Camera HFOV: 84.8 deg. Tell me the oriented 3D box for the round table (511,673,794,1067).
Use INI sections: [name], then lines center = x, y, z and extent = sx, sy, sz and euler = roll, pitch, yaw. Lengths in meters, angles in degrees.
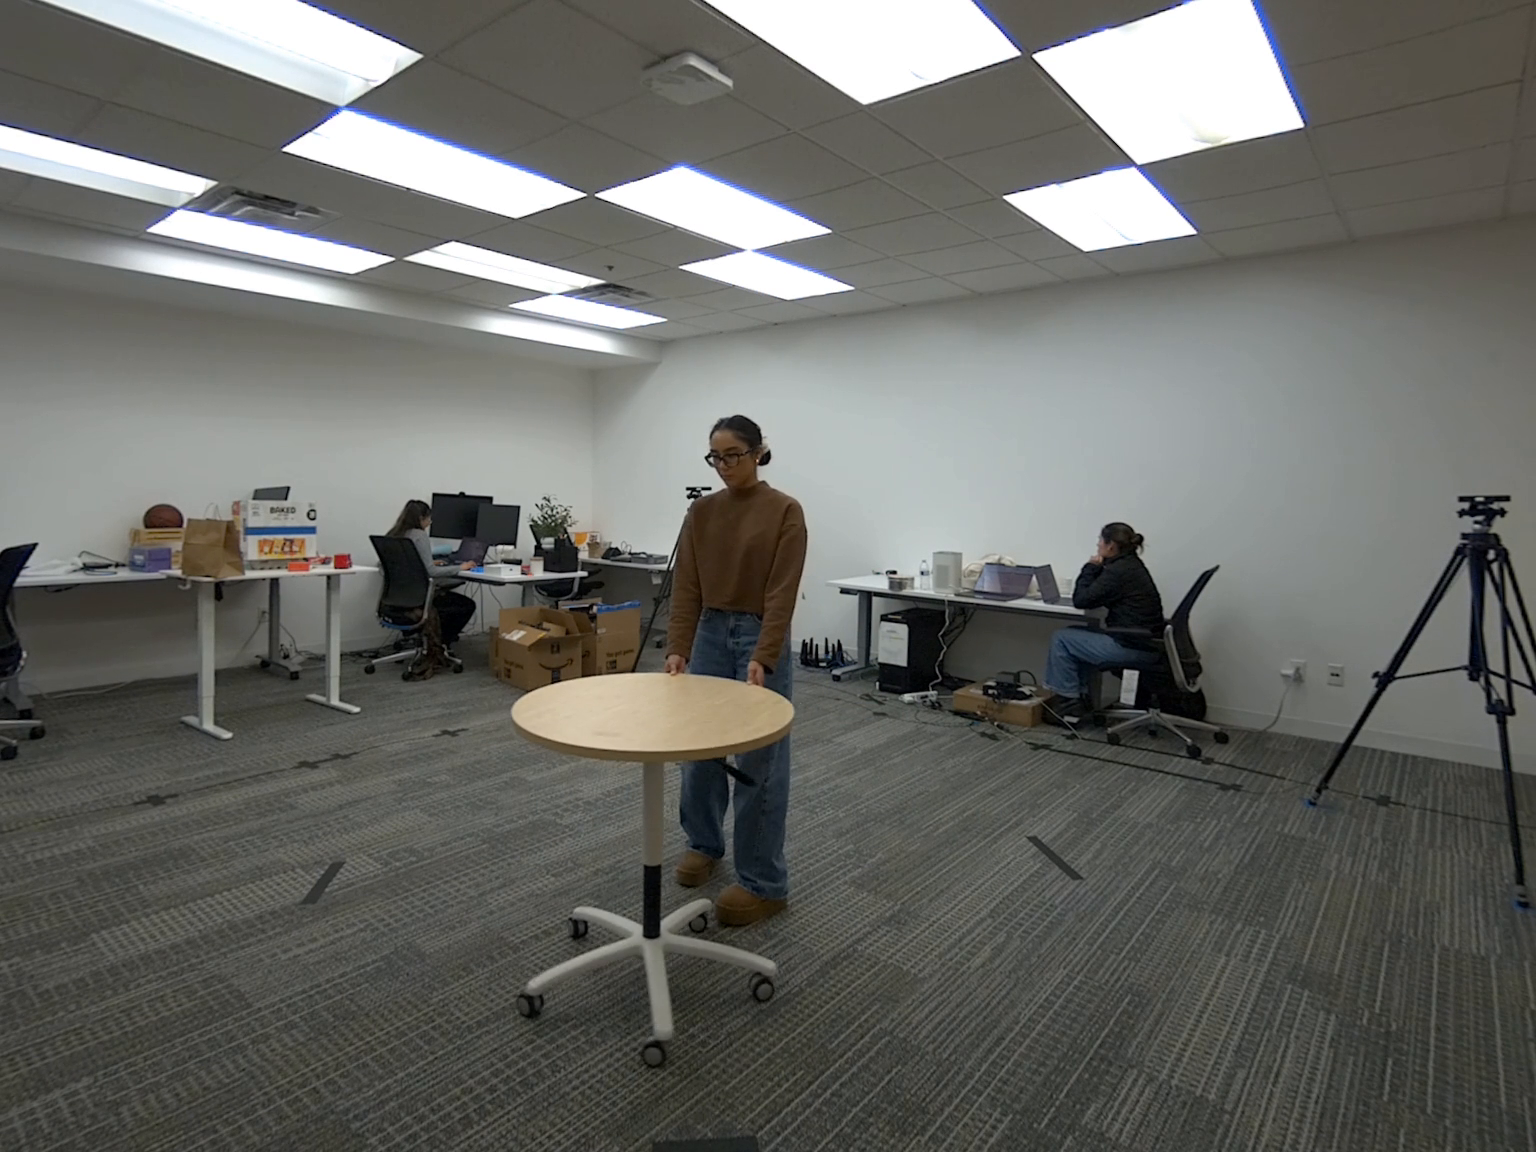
[round table]
center = -0.337, 0.739, 2.385
extent = 0.784, 0.783, 0.790
euler = 1, 5, -2
